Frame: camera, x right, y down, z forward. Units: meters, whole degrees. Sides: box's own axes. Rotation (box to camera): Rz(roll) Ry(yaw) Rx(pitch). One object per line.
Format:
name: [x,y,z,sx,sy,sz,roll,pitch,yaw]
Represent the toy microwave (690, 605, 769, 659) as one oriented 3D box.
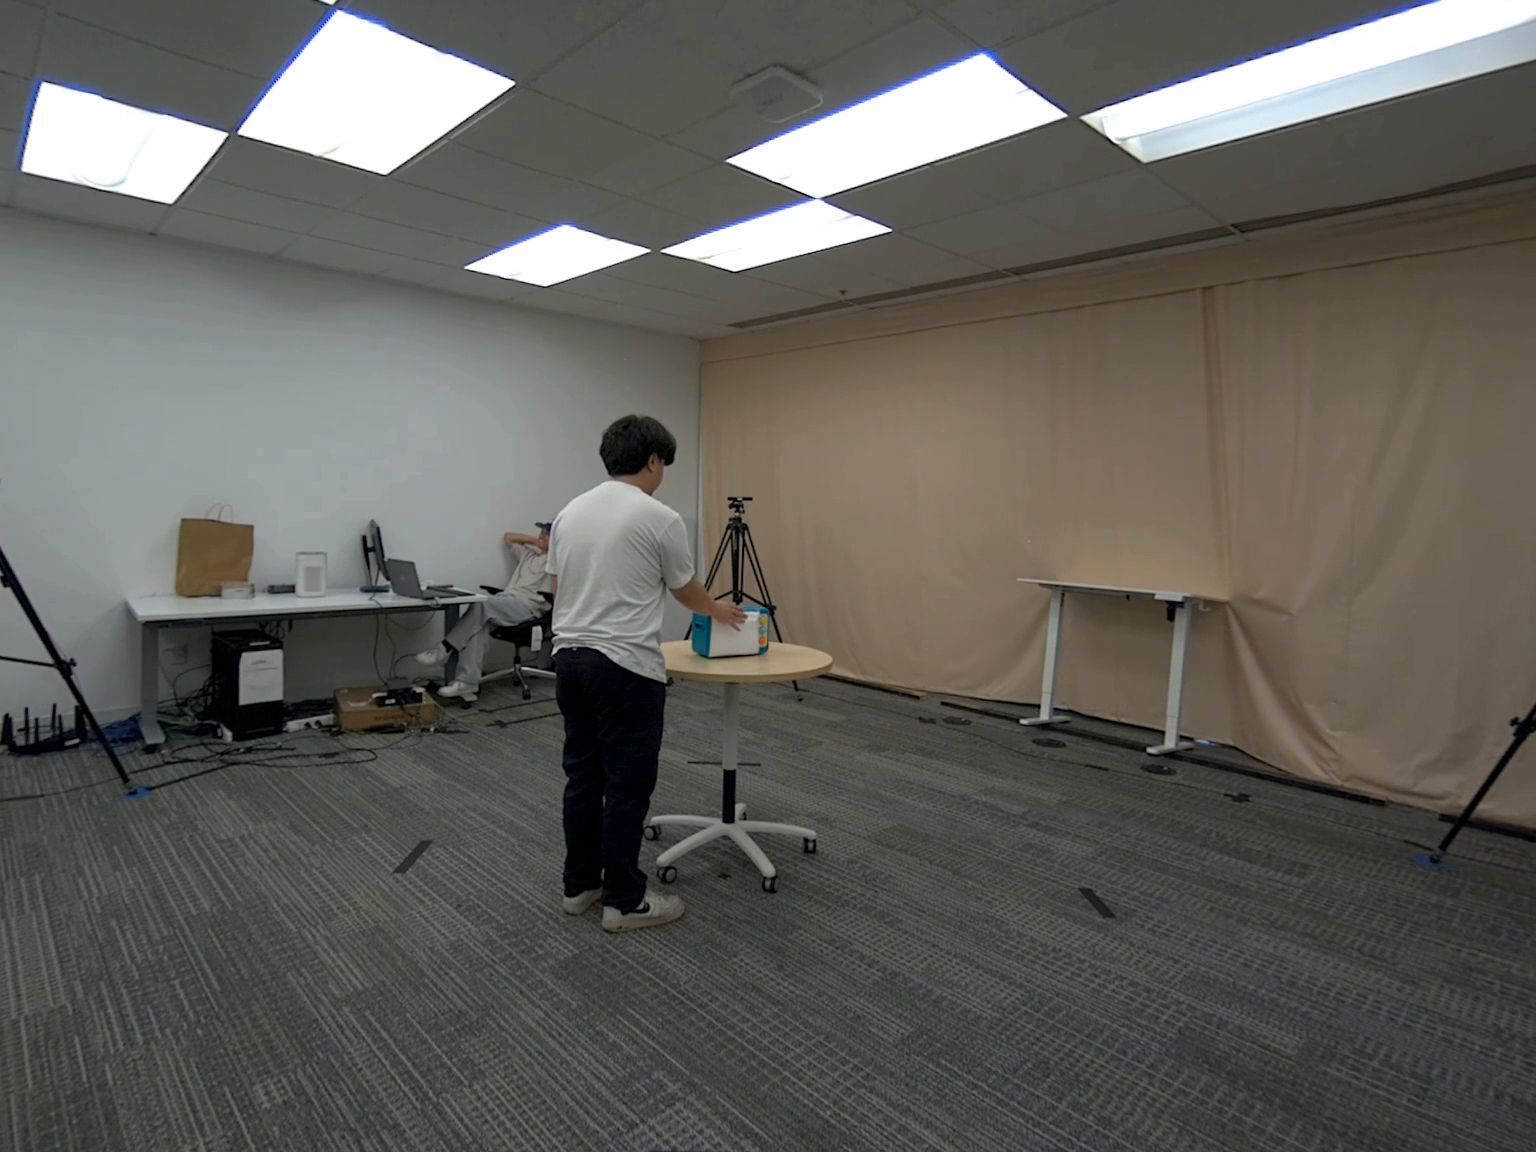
toy microwave: [-0.146,0.213,3.236,0.280,0.184,0.156,-1,4,-30]
